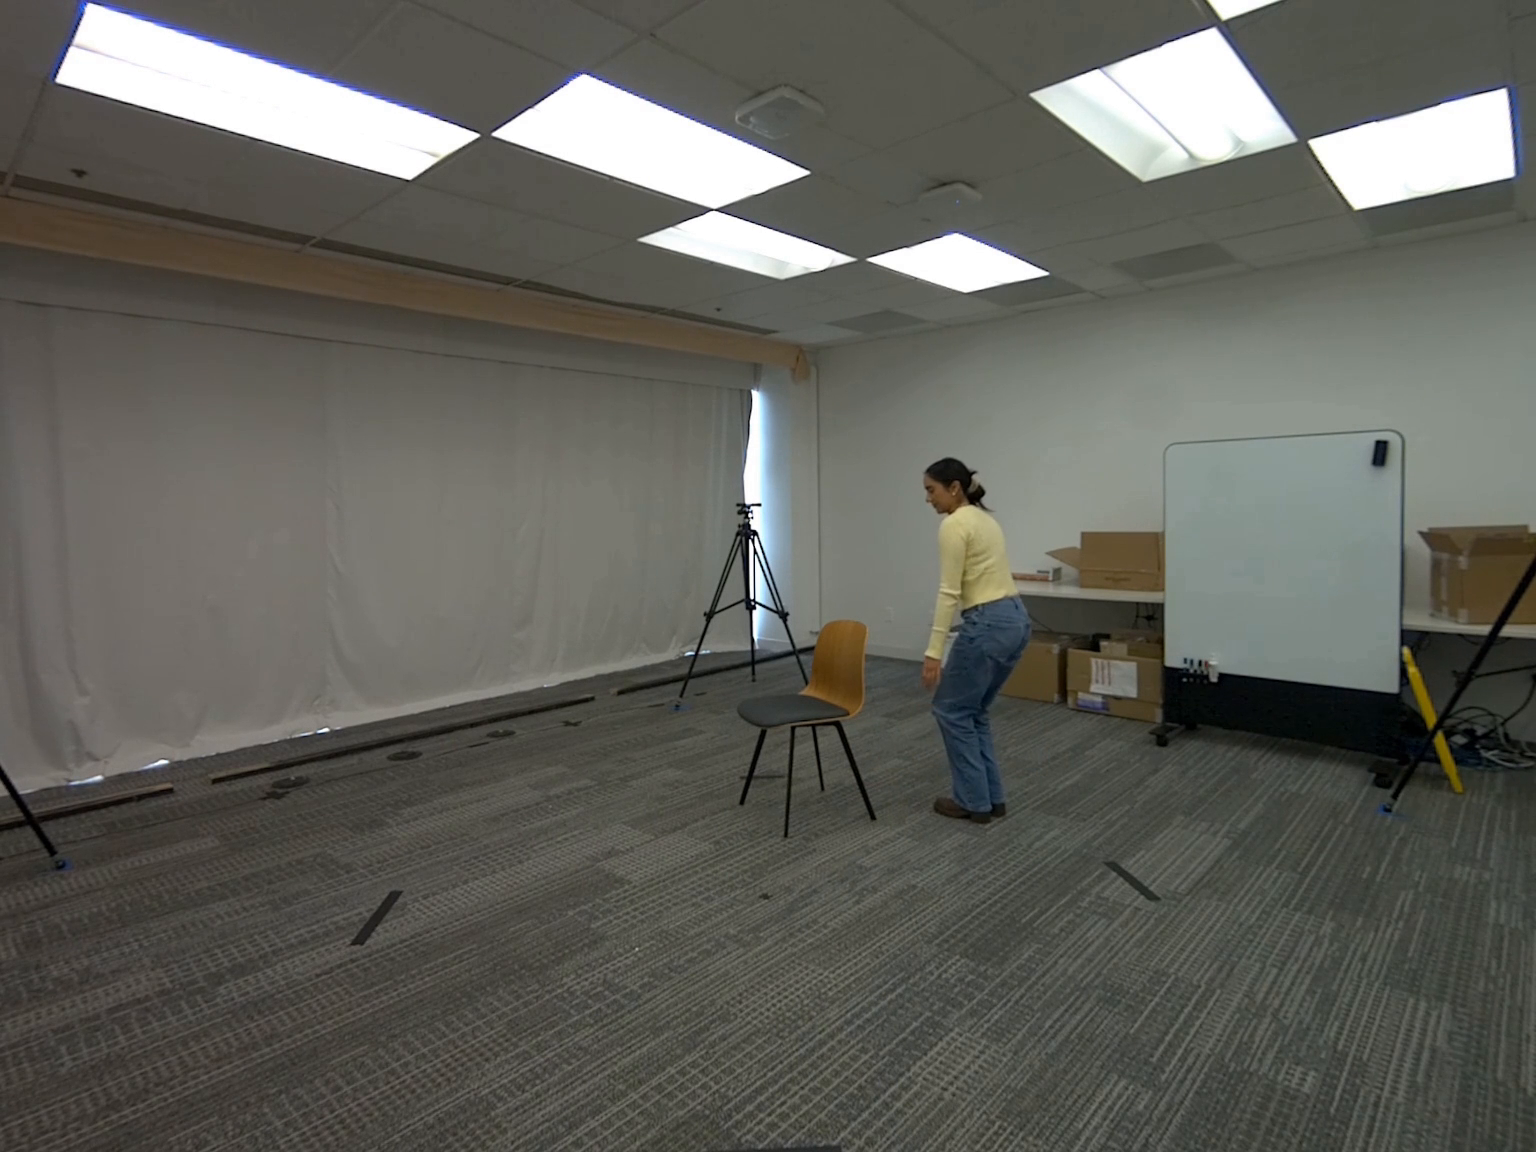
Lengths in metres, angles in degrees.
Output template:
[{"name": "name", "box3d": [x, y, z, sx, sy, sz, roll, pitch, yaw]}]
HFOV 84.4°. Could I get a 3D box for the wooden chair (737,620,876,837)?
[{"name": "wooden chair", "box3d": [0.158, 0.641, 3.756, 0.510, 0.876, 0.491, 2, 2, -26]}]
